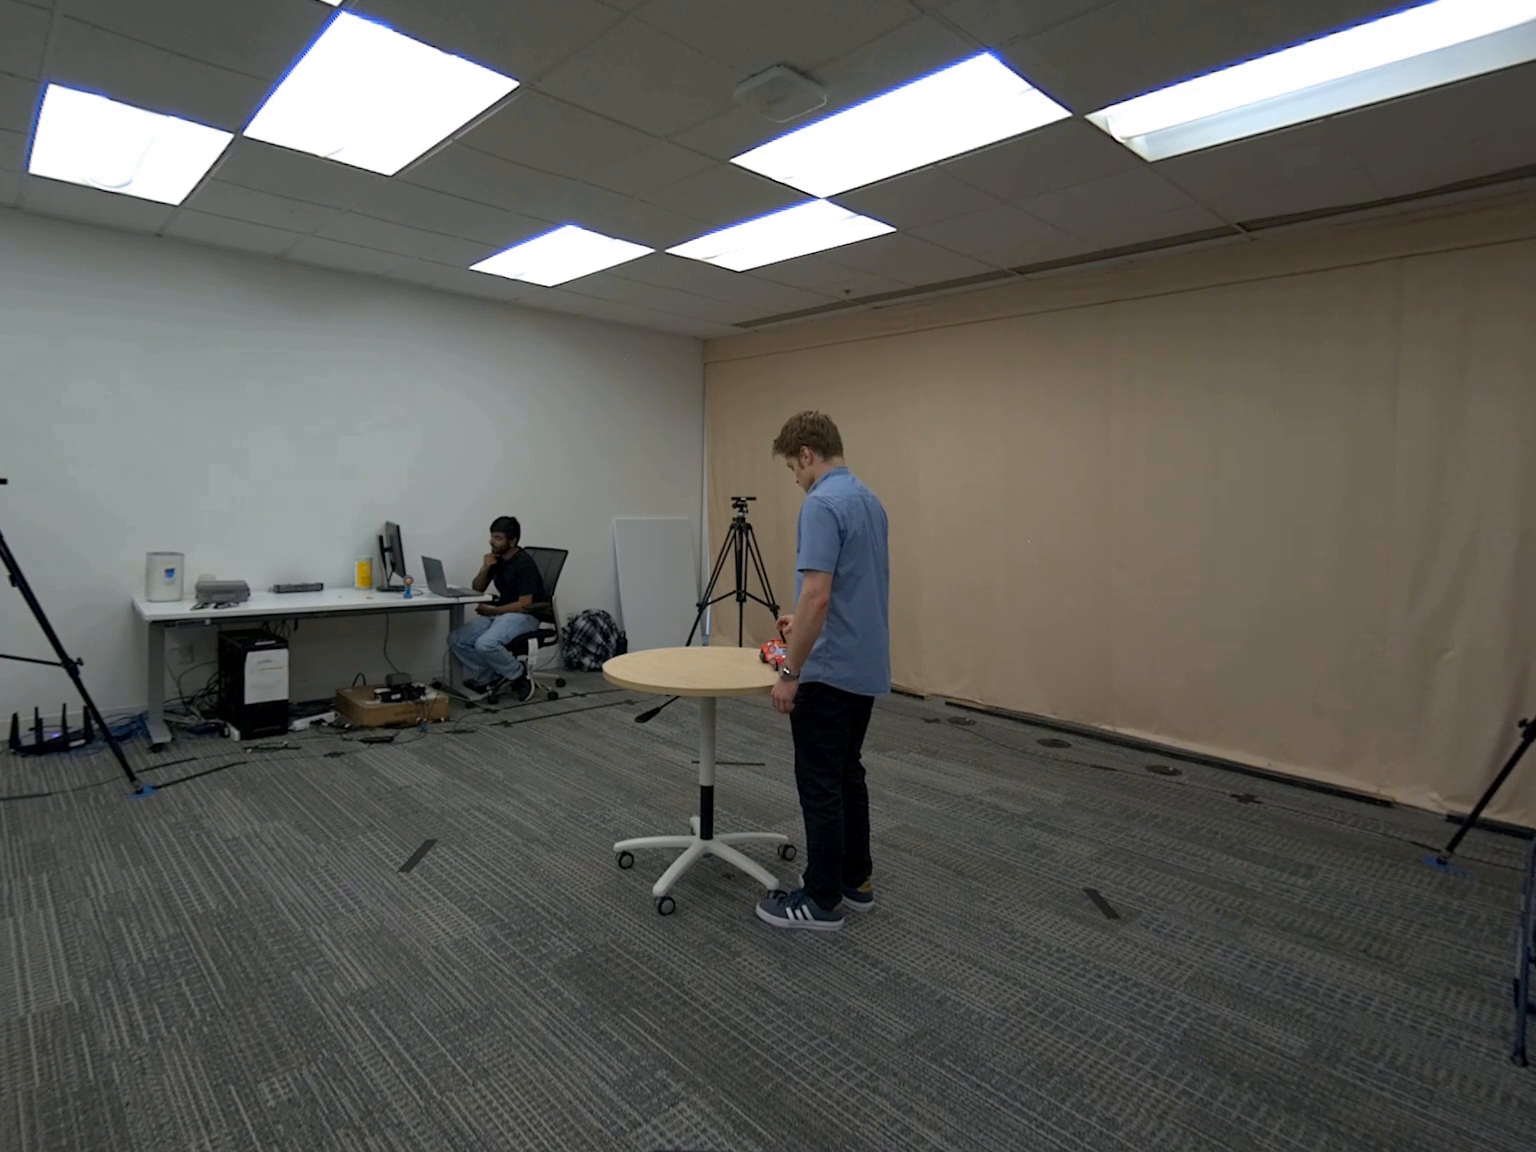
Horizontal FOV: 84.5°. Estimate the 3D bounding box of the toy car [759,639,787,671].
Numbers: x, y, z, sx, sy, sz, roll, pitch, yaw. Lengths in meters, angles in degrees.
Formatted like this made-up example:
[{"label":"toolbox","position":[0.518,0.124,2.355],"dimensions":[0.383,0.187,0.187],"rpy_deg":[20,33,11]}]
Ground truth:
[{"label":"toy car","position":[0.037,0.294,3.089],"dimensions":[0.129,0.082,0.260],"rpy_deg":[-1,17,-15]}]
